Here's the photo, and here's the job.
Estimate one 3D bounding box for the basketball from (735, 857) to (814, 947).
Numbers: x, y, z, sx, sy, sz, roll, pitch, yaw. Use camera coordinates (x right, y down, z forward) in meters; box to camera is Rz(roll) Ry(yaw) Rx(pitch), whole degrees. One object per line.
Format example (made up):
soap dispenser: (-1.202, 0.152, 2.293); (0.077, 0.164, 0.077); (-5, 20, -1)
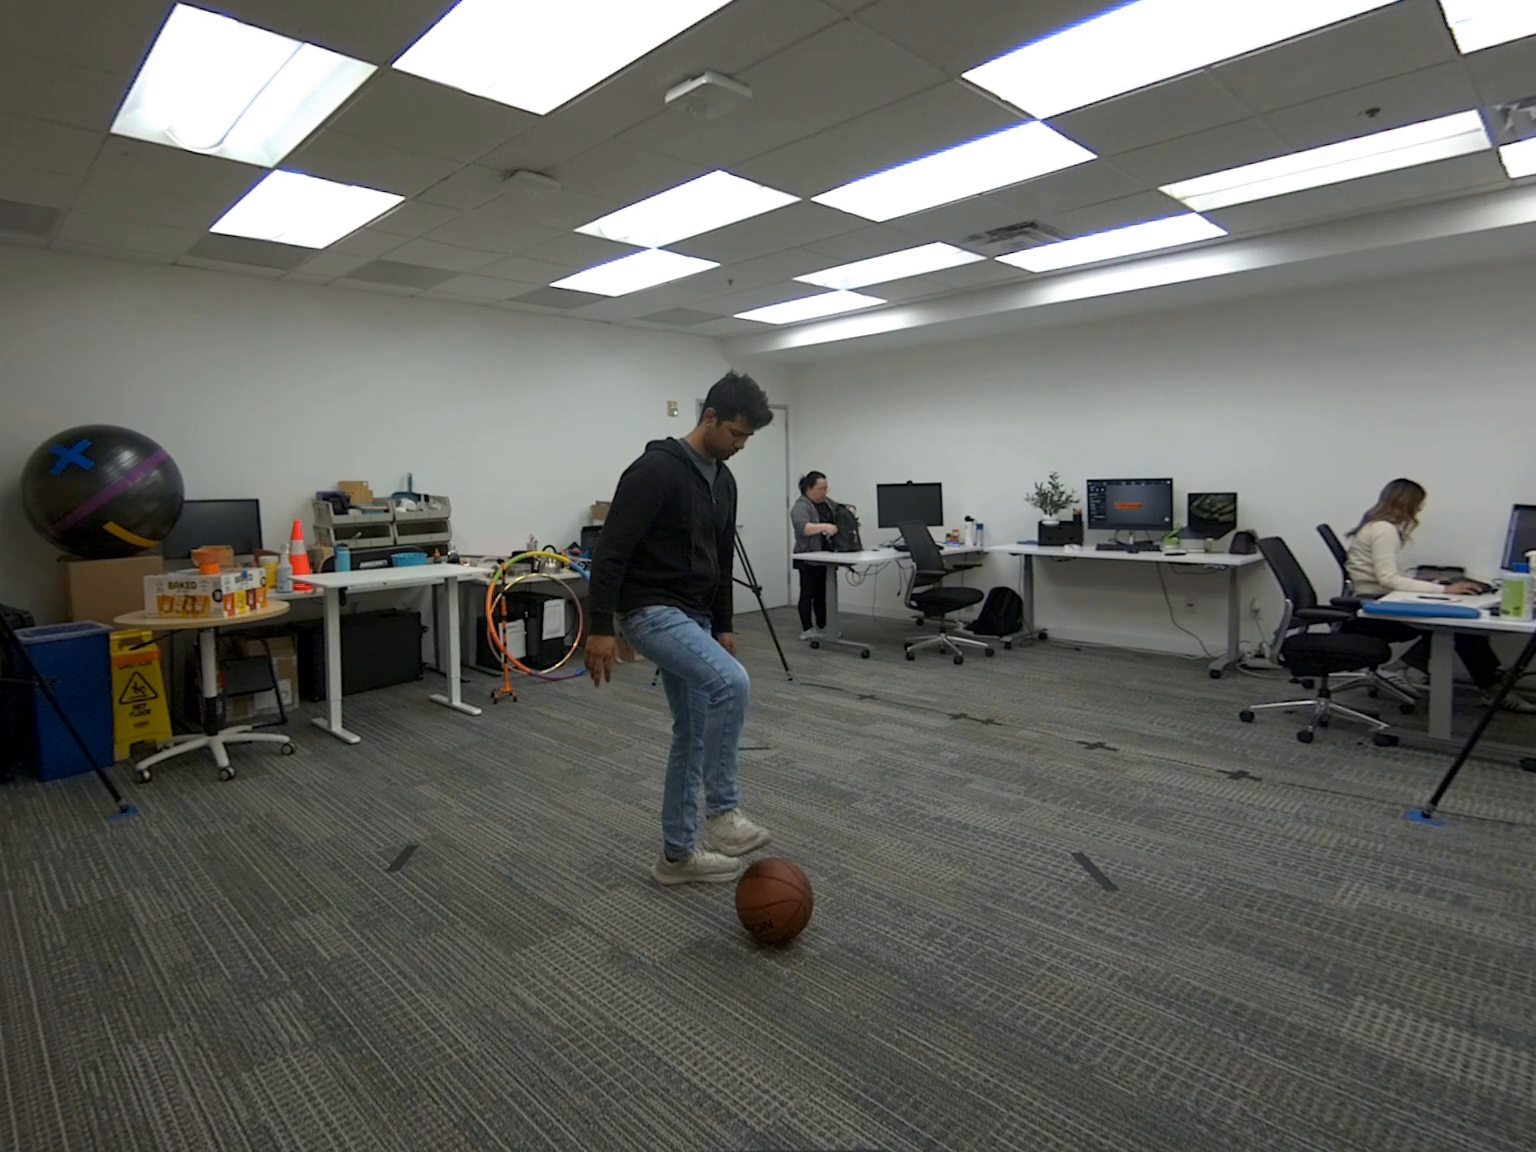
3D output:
basketball: (0.027, 0.988, 2.589); (0.236, 0.235, 0.237); (-1, 5, -2)
